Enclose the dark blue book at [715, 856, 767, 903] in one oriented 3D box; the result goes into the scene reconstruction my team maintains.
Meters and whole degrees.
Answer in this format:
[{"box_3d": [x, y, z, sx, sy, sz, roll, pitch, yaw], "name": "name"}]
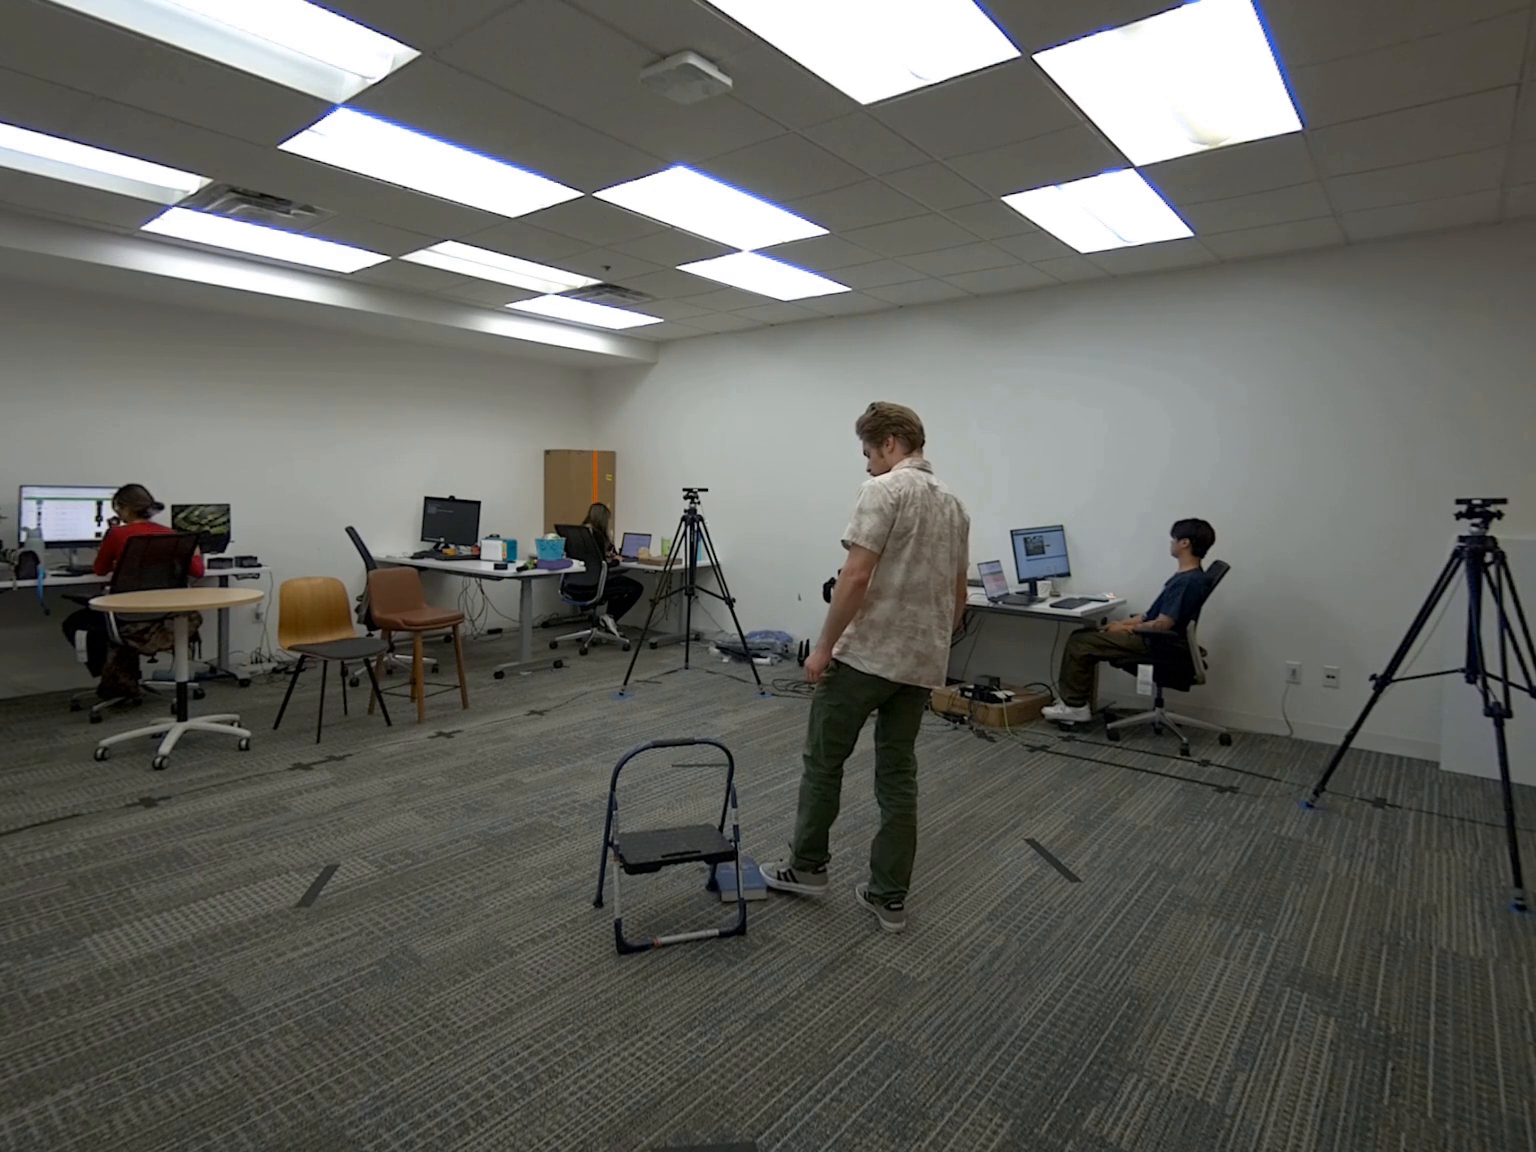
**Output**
[{"box_3d": [-0.114, 1.058, 2.985, 0.161, 0.045, 0.249, 0, 5, -12], "name": "dark blue book"}]
